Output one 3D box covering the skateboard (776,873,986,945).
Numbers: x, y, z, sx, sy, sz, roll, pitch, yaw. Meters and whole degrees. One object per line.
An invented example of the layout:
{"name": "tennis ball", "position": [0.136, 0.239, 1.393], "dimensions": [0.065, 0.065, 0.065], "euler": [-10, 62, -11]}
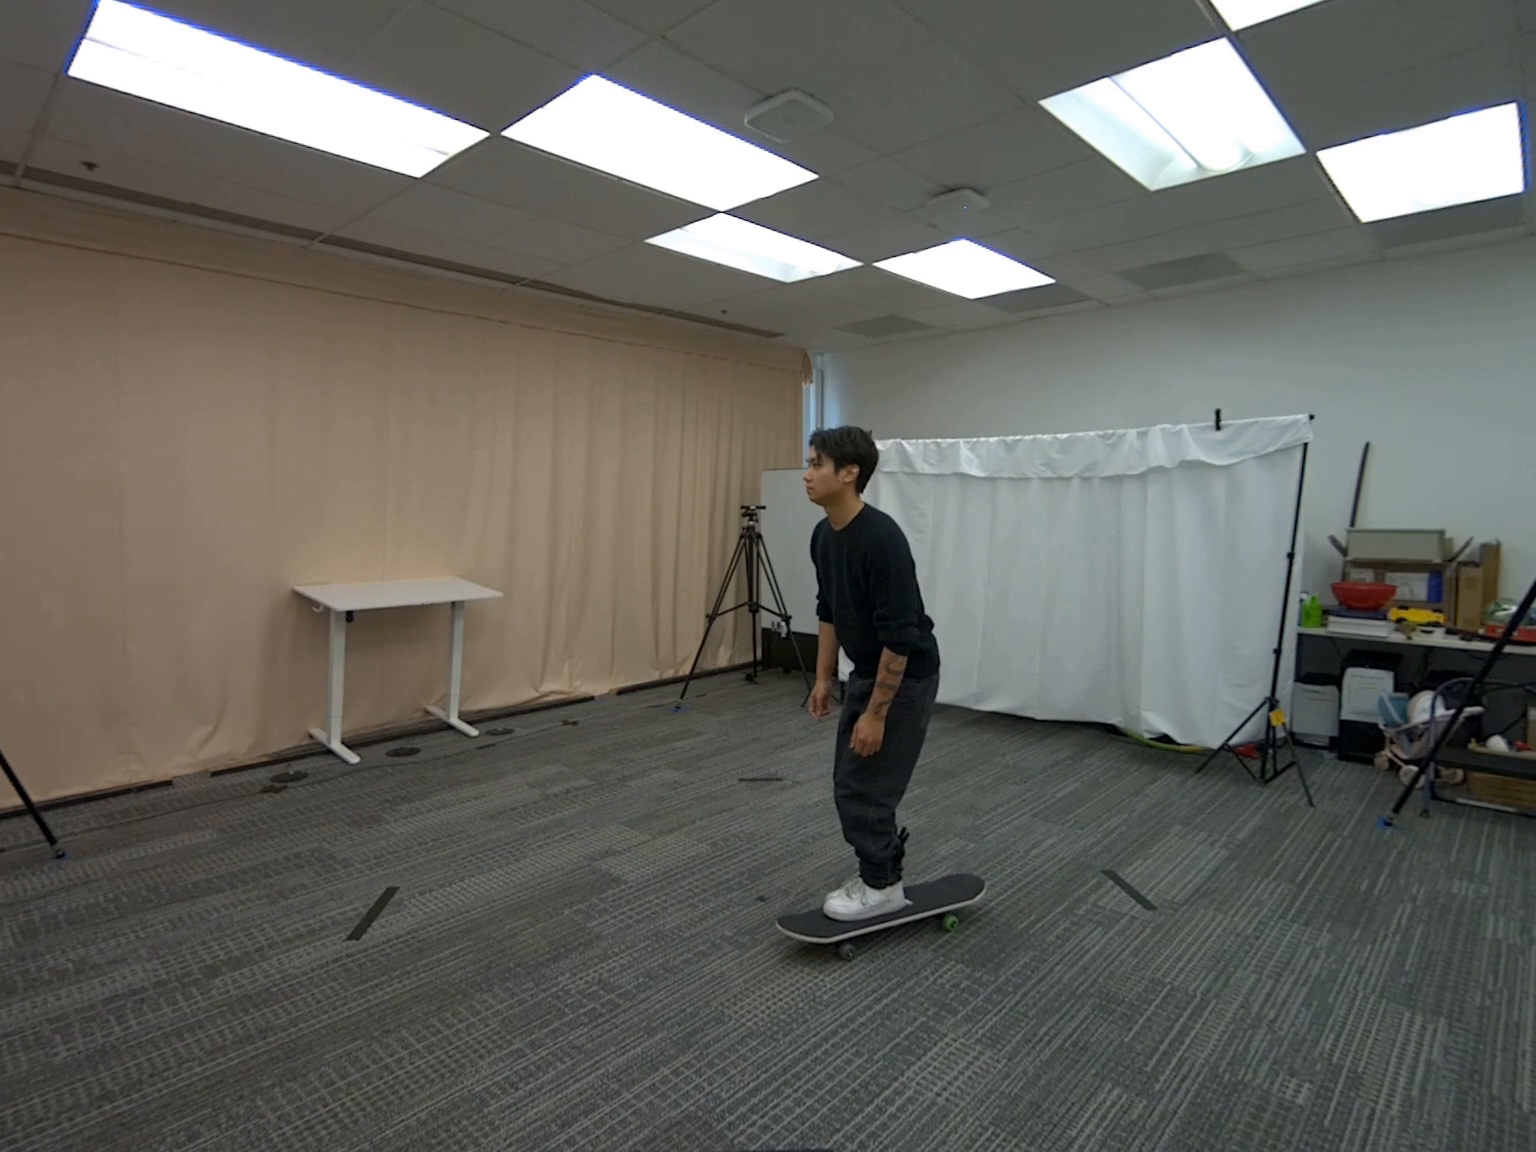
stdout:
{"name": "skateboard", "position": [0.391, 1.115, 2.729], "dimensions": [0.767, 0.110, 0.198], "euler": [-2, 3, -24]}
